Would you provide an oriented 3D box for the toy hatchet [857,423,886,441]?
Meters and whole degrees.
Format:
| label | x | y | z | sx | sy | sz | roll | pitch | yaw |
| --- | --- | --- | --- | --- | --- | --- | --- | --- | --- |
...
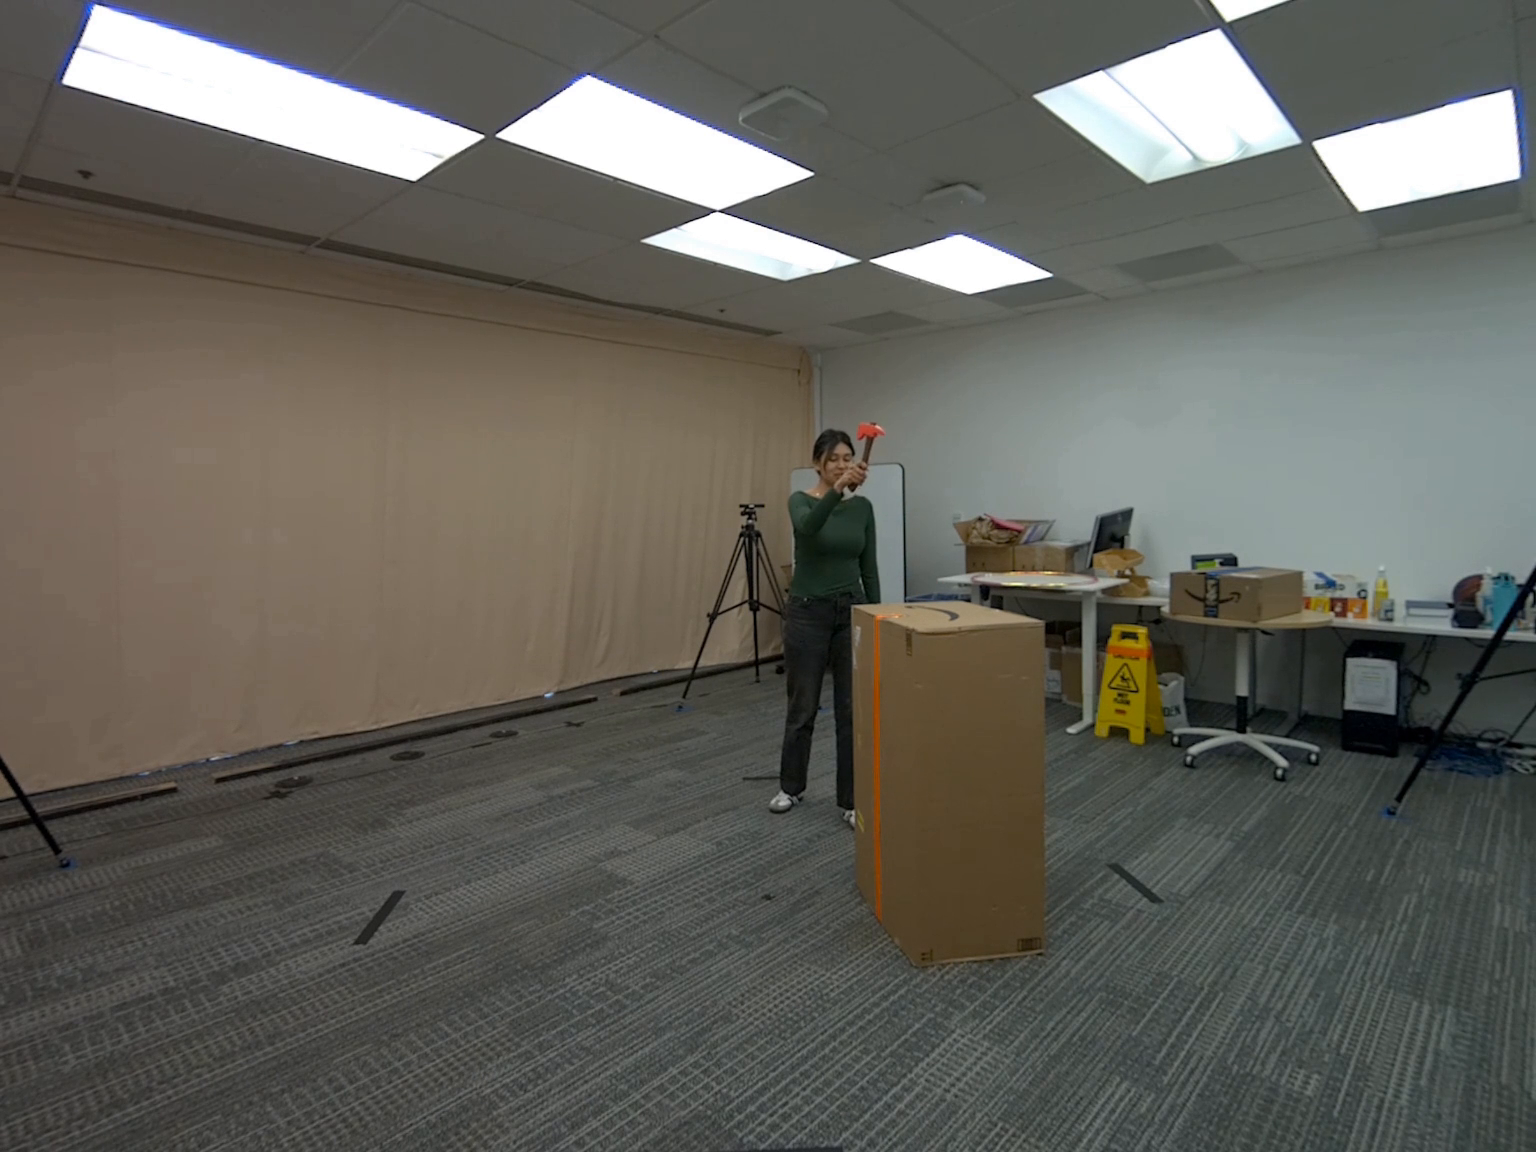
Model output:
| label | x | y | z | sx | sy | sz | roll | pitch | yaw |
| --- | --- | --- | --- | --- | --- | --- | --- | --- | --- |
| toy hatchet | 0.348 | -0.444 | 3.136 | 0.029 | 0.269 | 0.135 | -4 | 43 | -37 |
